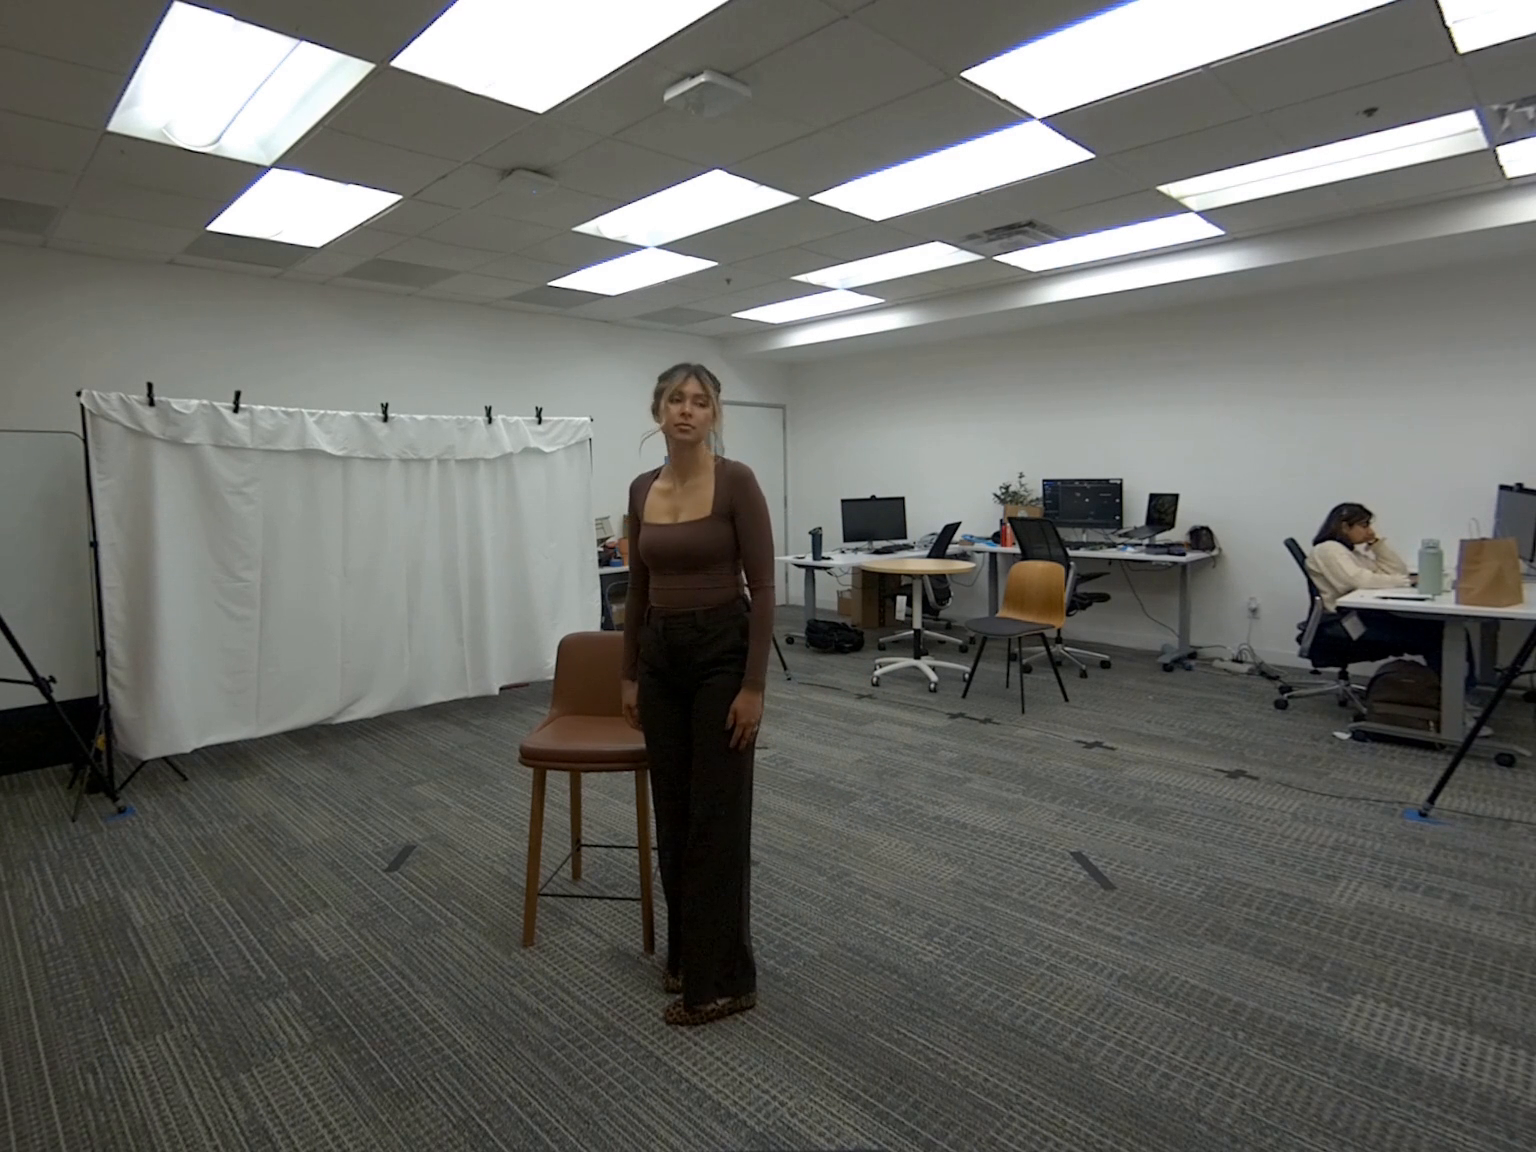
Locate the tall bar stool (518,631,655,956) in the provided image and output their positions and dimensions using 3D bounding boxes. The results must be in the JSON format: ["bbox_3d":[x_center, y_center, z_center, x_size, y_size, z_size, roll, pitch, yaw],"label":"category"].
[{"bbox_3d":[-0.529,0.659,2.746,0.460,0.887,0.465,0,3,7],"label":"tall bar stool"}]
